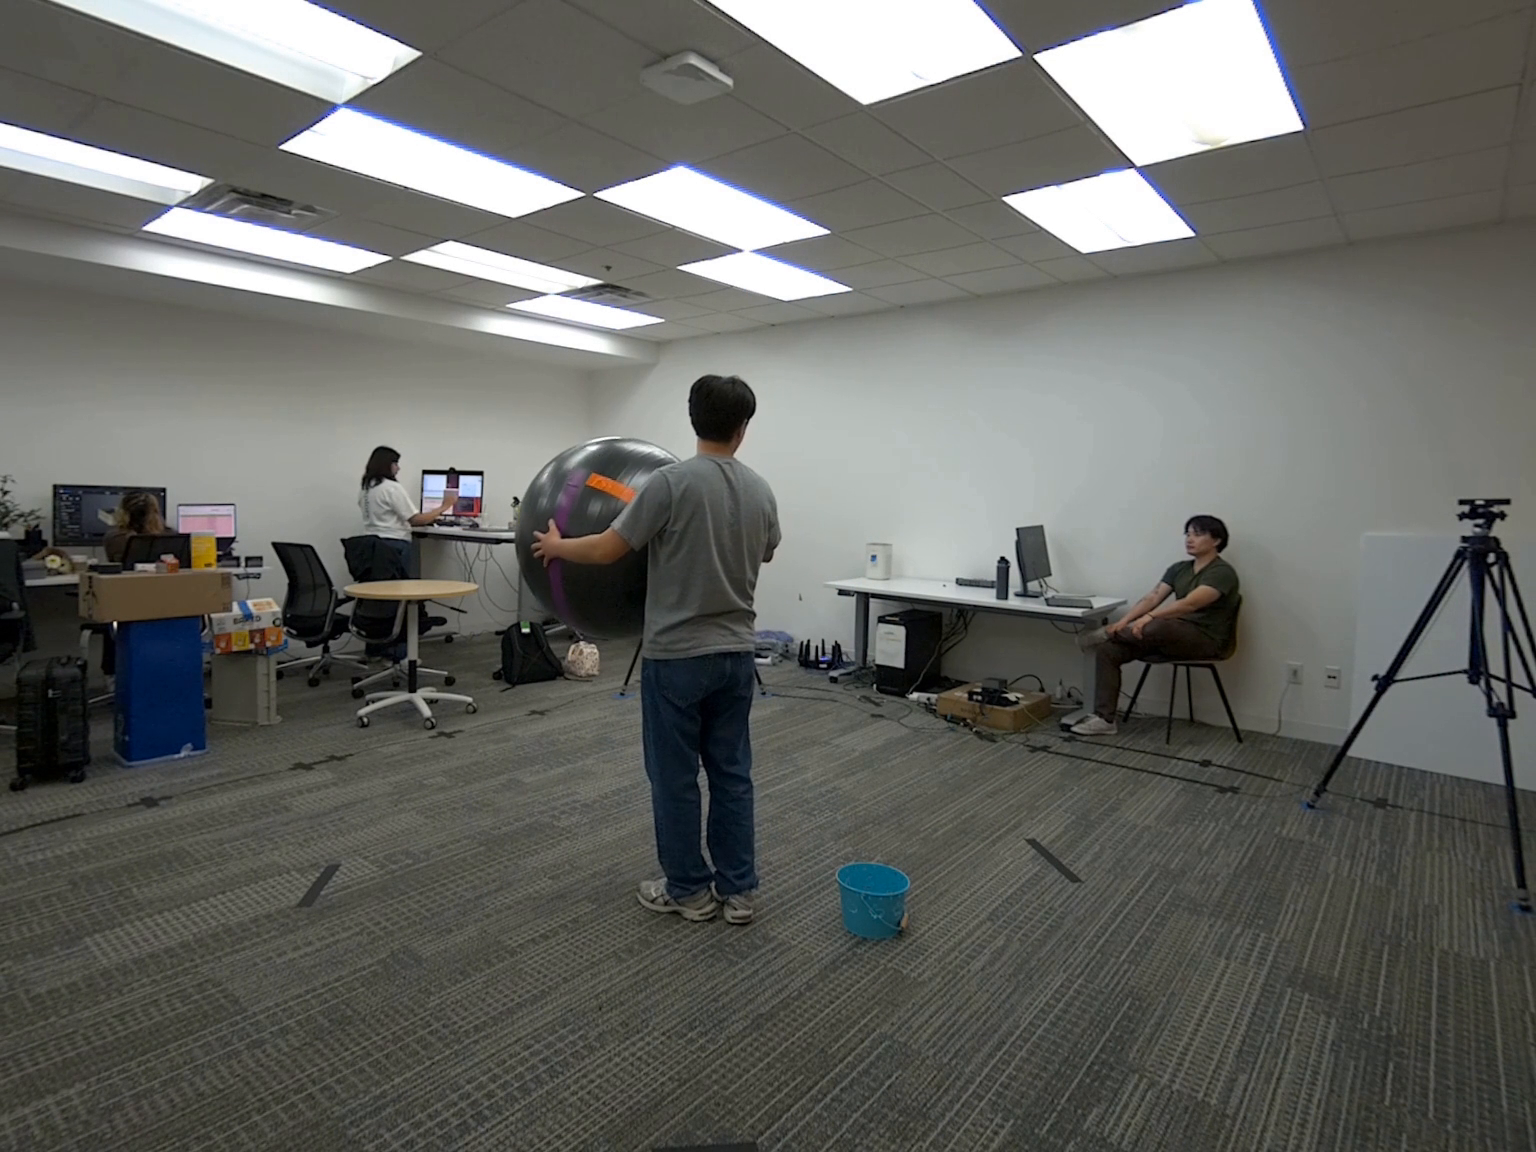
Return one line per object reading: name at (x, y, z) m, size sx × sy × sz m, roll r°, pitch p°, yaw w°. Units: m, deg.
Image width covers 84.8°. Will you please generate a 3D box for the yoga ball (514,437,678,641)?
yoga ball at (-0.586, -0.141, 3.203) m, size 0.757 × 0.756 × 0.761 m, roll 1°, pitch 4°, yaw -2°
